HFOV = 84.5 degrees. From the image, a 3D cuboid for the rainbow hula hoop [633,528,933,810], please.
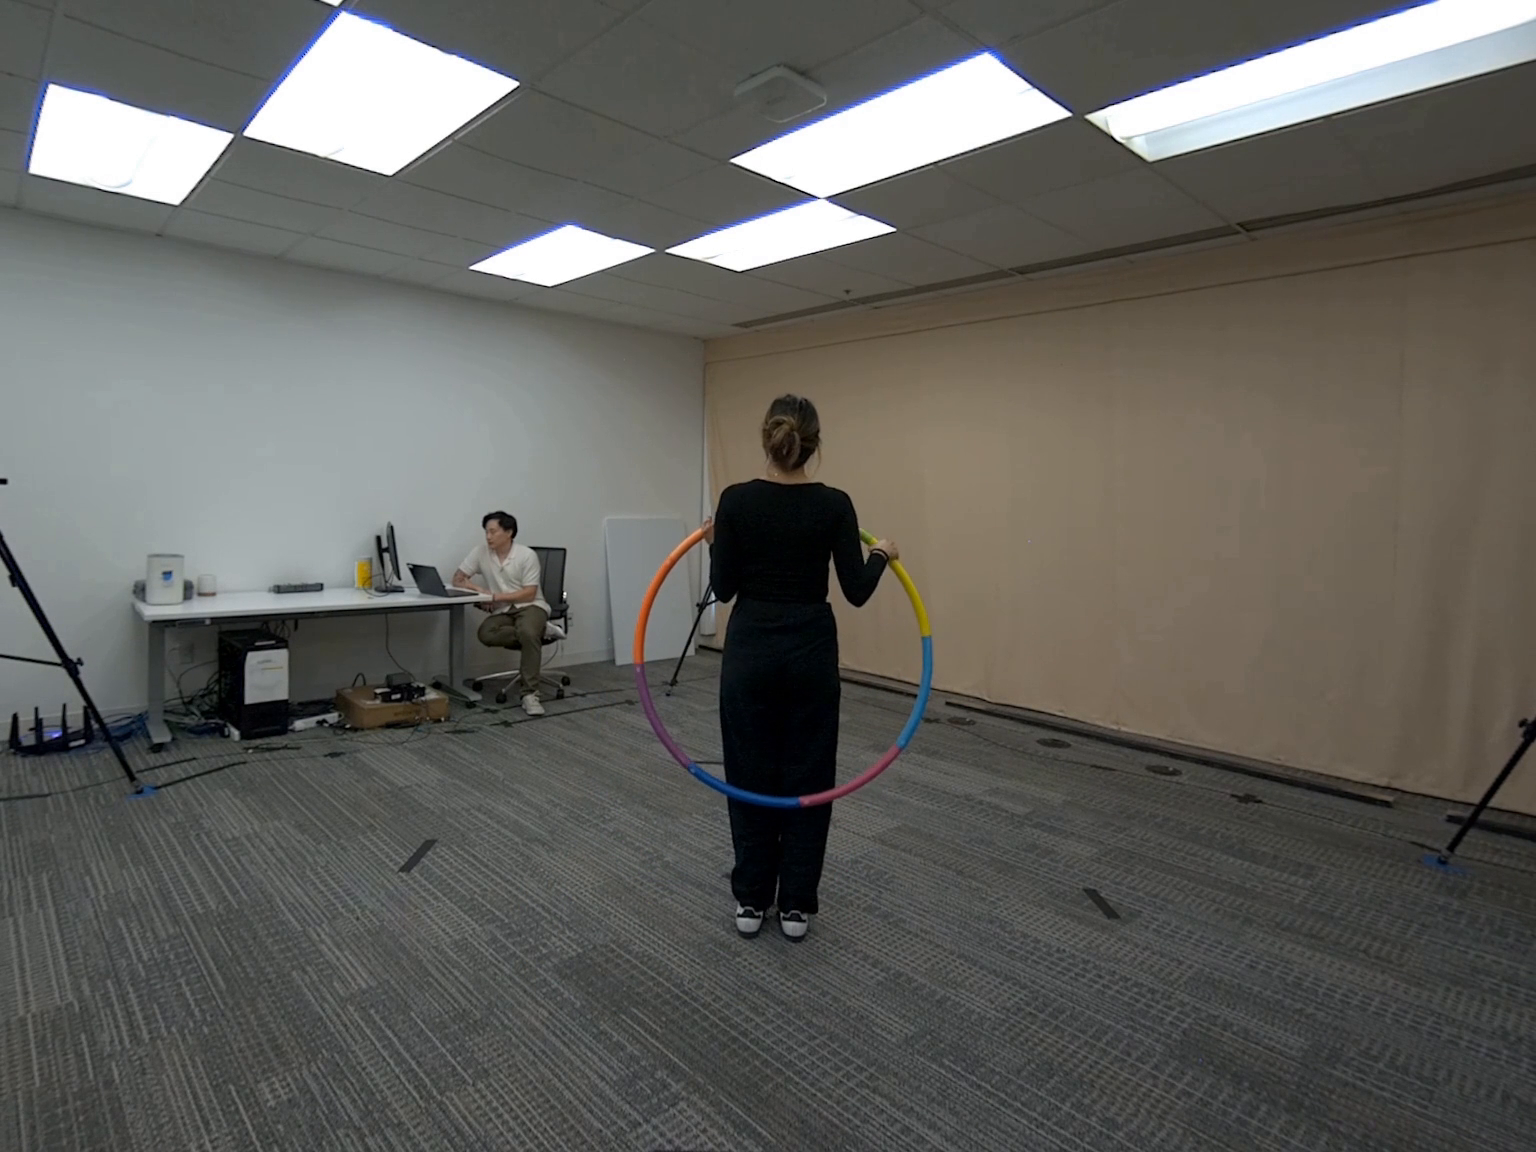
[{"bbox_3d":[0.035,0.244,2.764,0.980,0.988,0.035,1,-13,1],"label":"rainbow hula hoop"}]
